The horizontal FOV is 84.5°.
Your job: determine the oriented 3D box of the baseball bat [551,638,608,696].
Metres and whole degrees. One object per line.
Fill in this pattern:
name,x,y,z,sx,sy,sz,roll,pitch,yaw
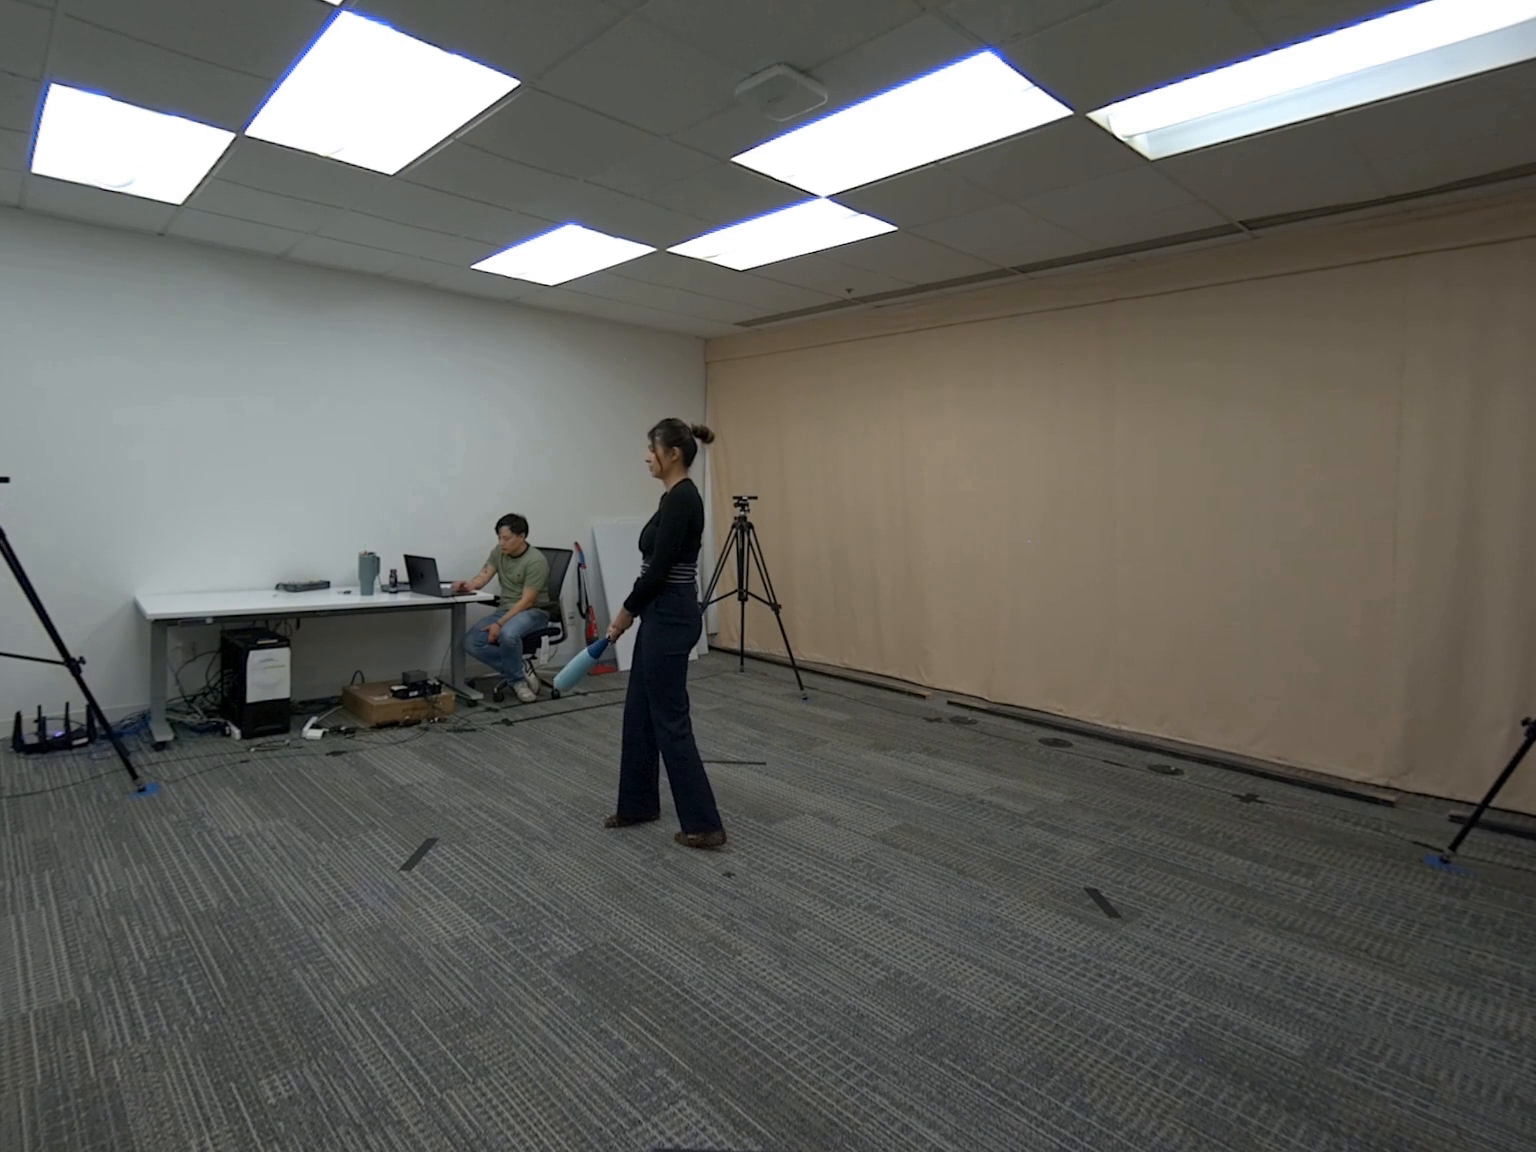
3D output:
baseball bat,-0.727,0.308,3.541,0.544,0.090,0.087,-42,-18,26
